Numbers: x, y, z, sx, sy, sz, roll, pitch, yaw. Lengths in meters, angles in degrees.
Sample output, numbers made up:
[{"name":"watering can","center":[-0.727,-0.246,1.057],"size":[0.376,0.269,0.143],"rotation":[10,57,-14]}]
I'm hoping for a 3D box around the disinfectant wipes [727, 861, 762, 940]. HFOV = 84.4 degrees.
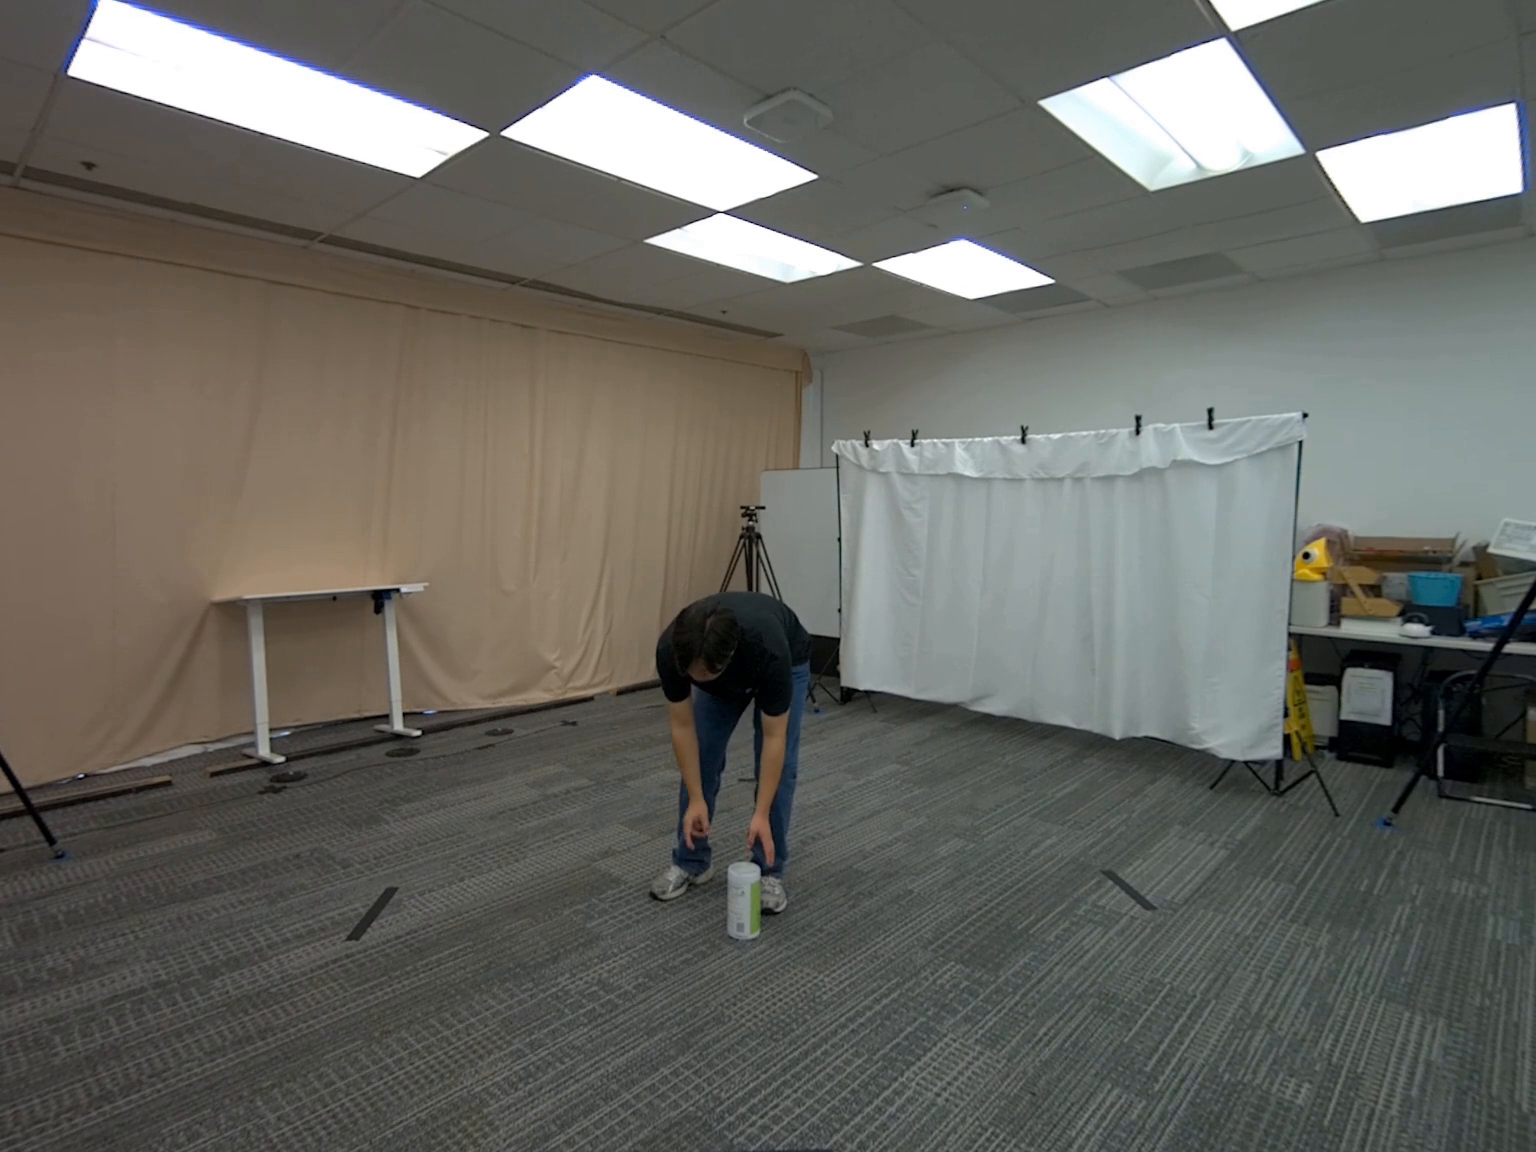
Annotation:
[{"name":"disinfectant wipes","center":[-0.079,1.058,2.732],"size":[0.117,0.217,0.118],"rotation":[3,4,-2]}]
